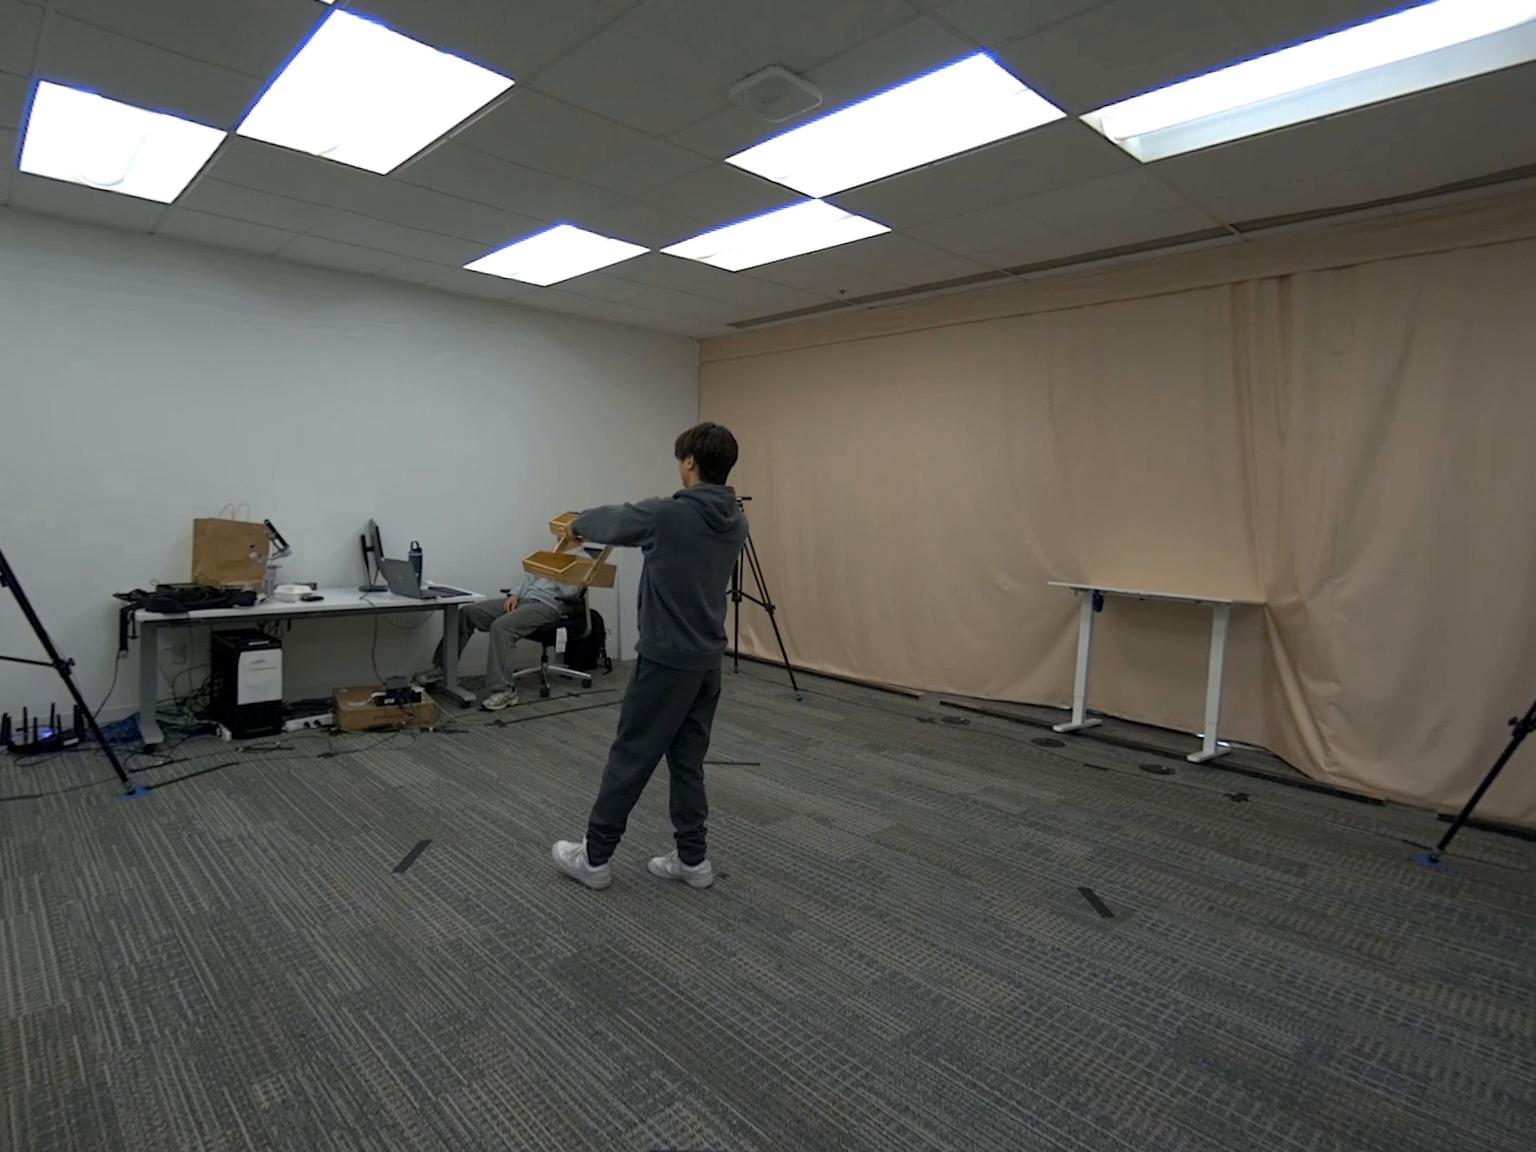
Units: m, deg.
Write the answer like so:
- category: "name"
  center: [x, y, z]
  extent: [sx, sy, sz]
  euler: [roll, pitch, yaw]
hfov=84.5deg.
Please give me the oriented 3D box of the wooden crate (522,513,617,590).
- category: "wooden crate"
  center: [-0.766, -0.114, 3.368]
  extent: [0.294, 0.273, 0.333]
  euler: [7, 4, -45]
